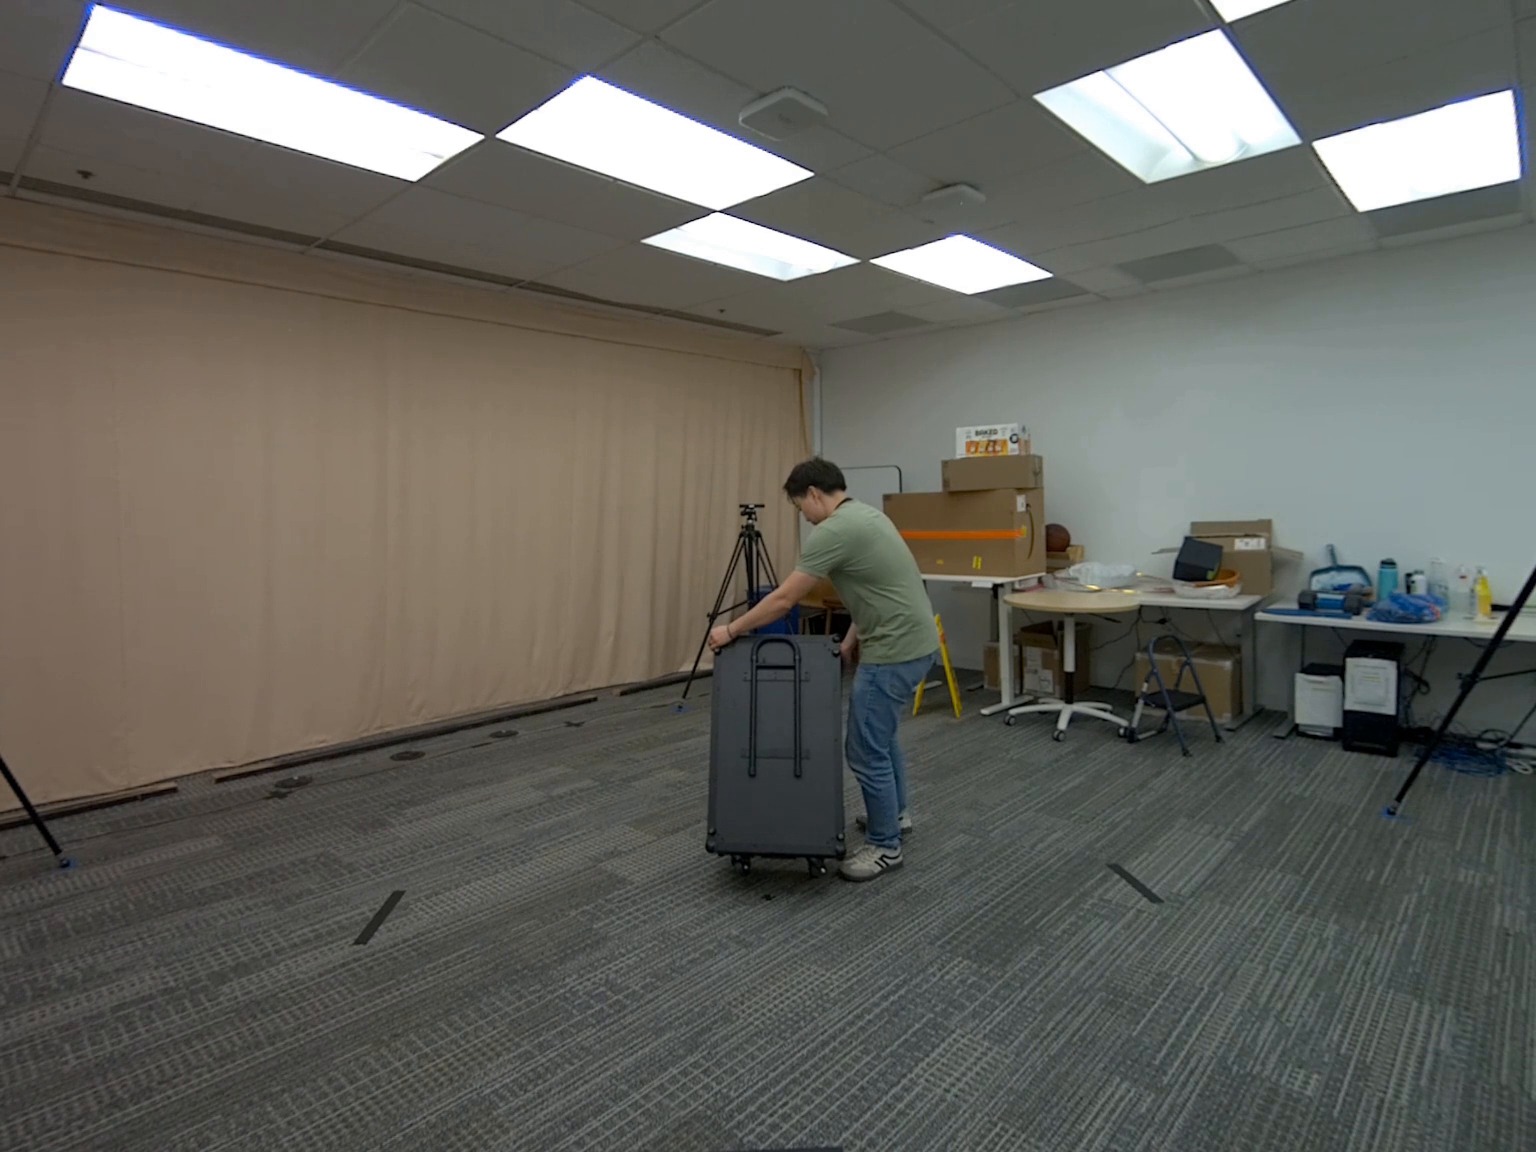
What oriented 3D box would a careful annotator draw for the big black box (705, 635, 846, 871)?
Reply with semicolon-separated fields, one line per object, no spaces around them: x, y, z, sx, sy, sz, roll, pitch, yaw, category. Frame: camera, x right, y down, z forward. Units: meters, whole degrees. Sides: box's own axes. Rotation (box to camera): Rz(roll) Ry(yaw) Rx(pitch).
0.046;0.683;3.191;0.525;0.872;0.388;-2;-21;7;big black box
